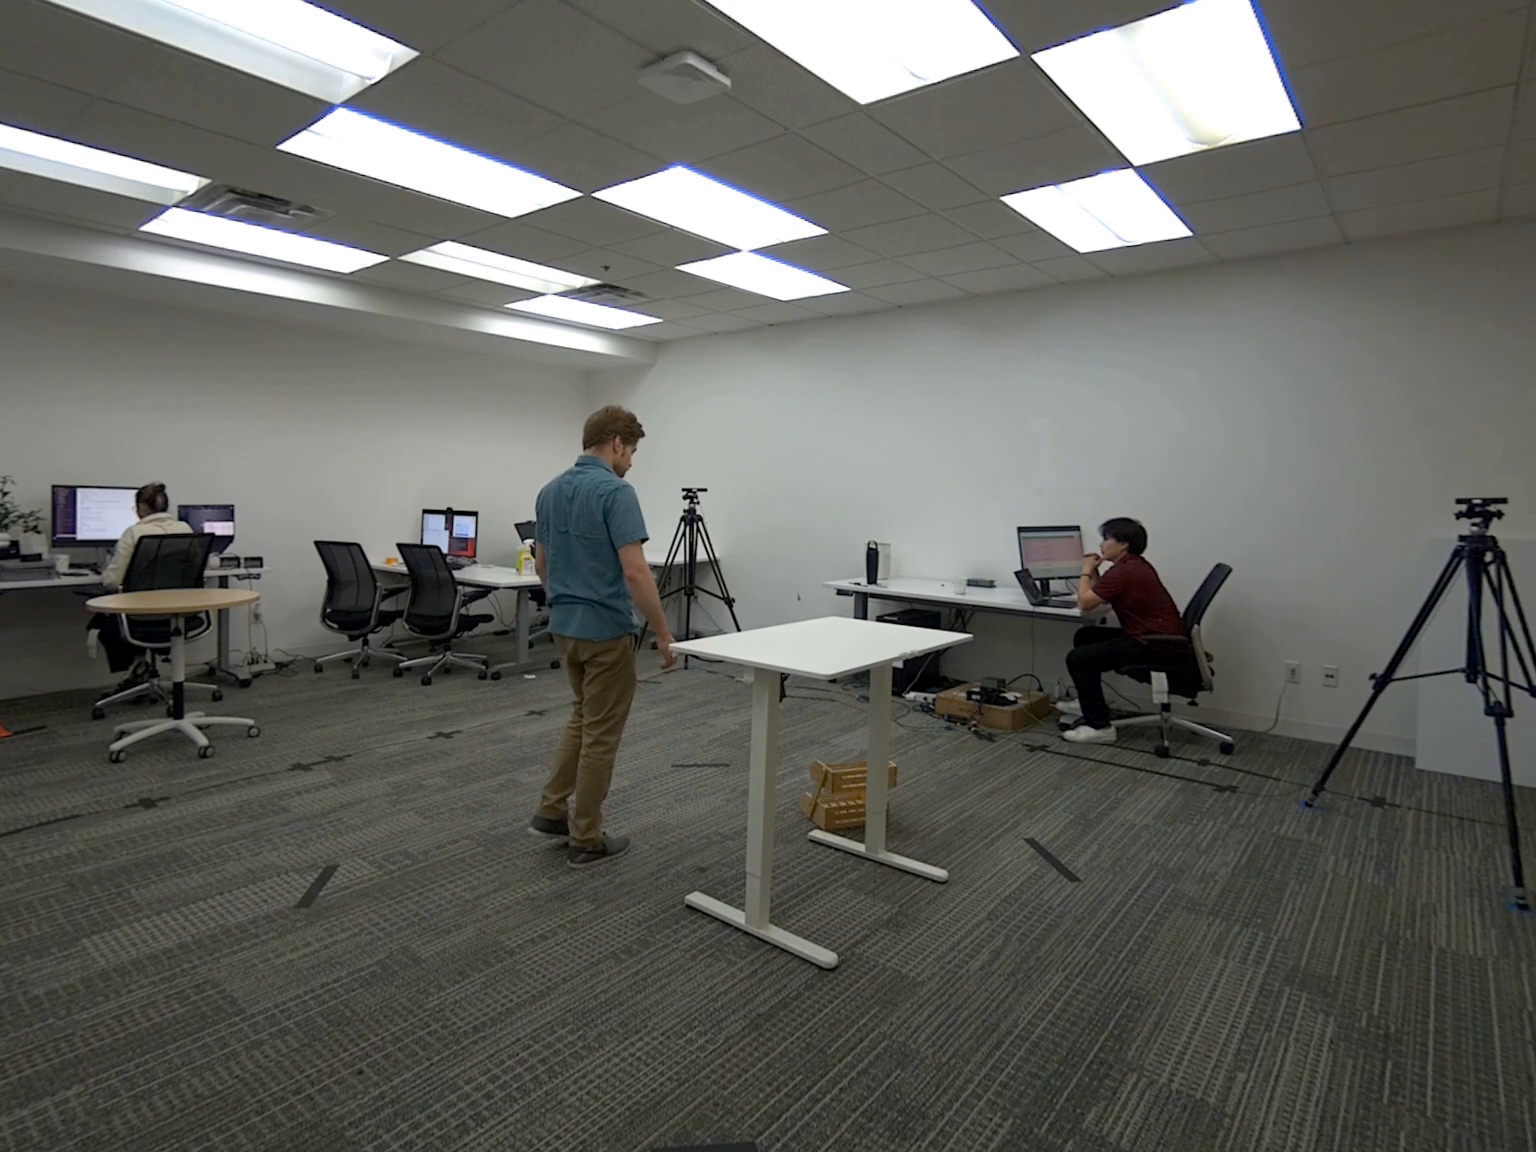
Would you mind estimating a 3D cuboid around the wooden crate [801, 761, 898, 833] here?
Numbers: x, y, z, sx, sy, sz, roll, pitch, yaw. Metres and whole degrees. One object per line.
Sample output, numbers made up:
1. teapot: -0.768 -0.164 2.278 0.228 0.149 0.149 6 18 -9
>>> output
1. wooden crate: 0.324 0.895 3.633 0.317 0.272 0.310 -1 6 -23
